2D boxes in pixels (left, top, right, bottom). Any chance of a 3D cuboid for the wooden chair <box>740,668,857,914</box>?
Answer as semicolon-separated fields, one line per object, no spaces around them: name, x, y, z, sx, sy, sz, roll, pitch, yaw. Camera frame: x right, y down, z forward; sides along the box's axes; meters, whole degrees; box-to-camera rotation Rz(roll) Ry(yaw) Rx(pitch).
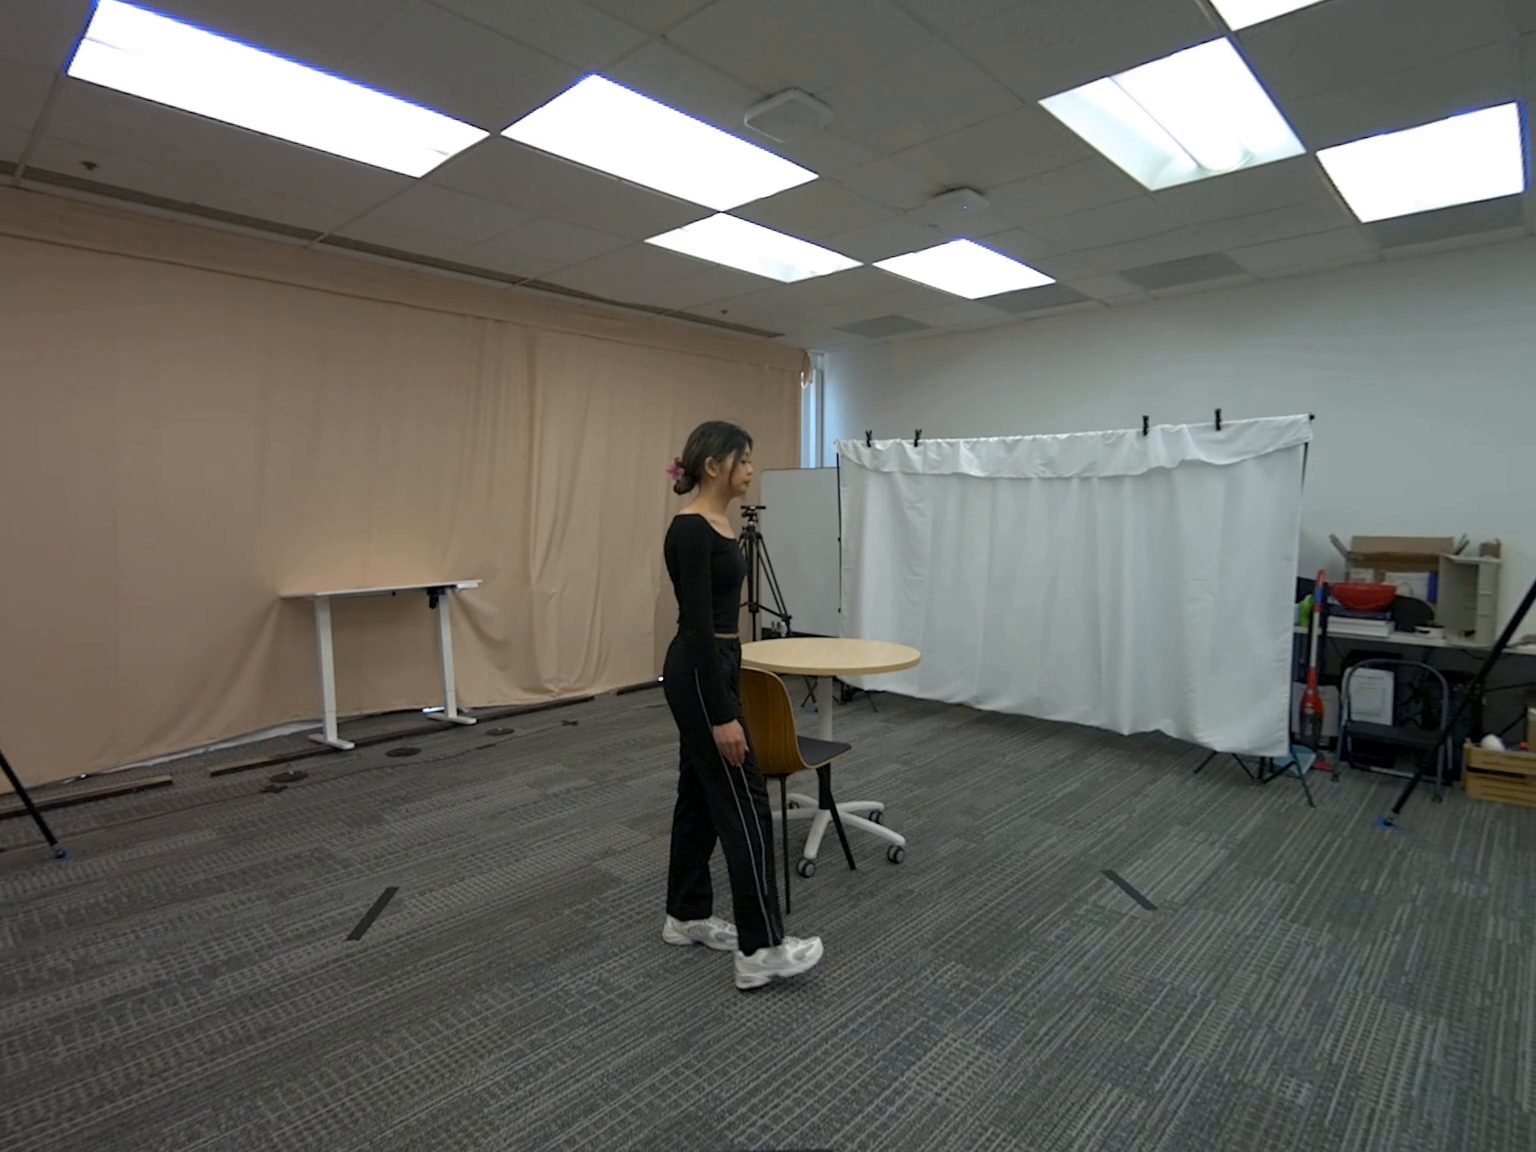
wooden chair;0.031;0.700;3.160;0.493;0.873;0.509;1;8;38
